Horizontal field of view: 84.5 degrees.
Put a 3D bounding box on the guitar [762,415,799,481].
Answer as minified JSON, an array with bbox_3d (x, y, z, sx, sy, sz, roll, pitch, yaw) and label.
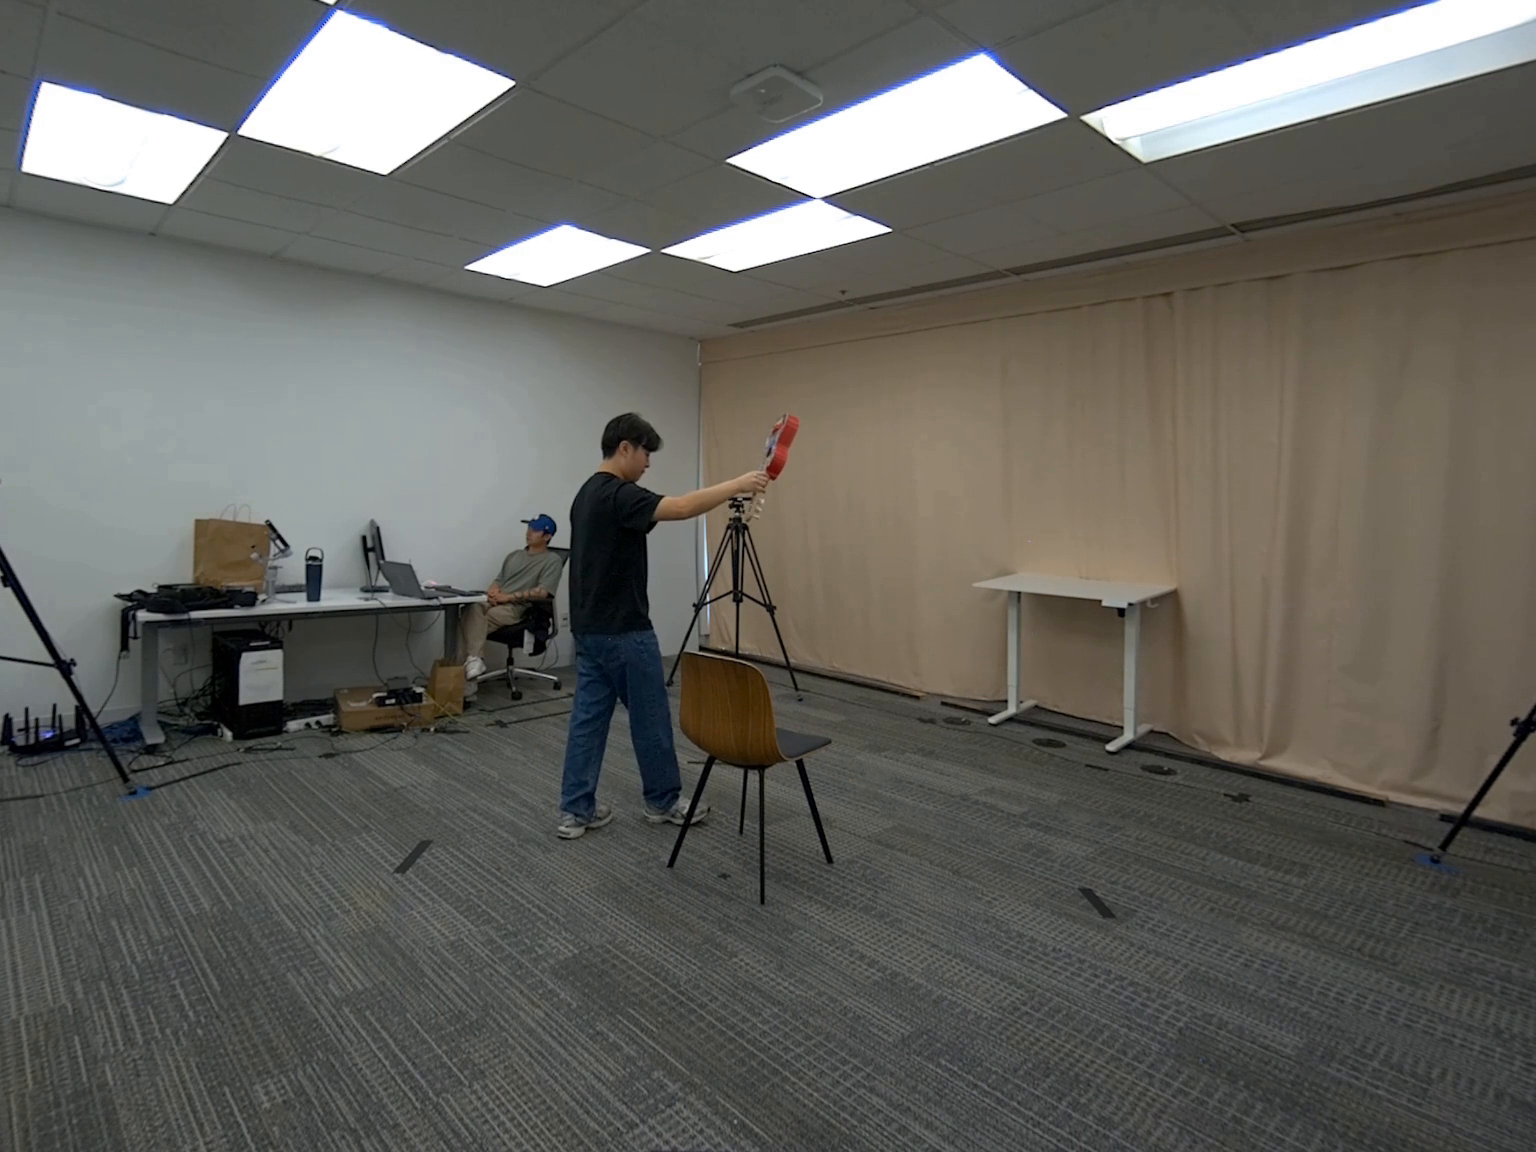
[{"bbox_3d":[-0.003,-0.426,3.422,0.069,0.501,0.195,22,-15,-16],"label":"guitar"}]
